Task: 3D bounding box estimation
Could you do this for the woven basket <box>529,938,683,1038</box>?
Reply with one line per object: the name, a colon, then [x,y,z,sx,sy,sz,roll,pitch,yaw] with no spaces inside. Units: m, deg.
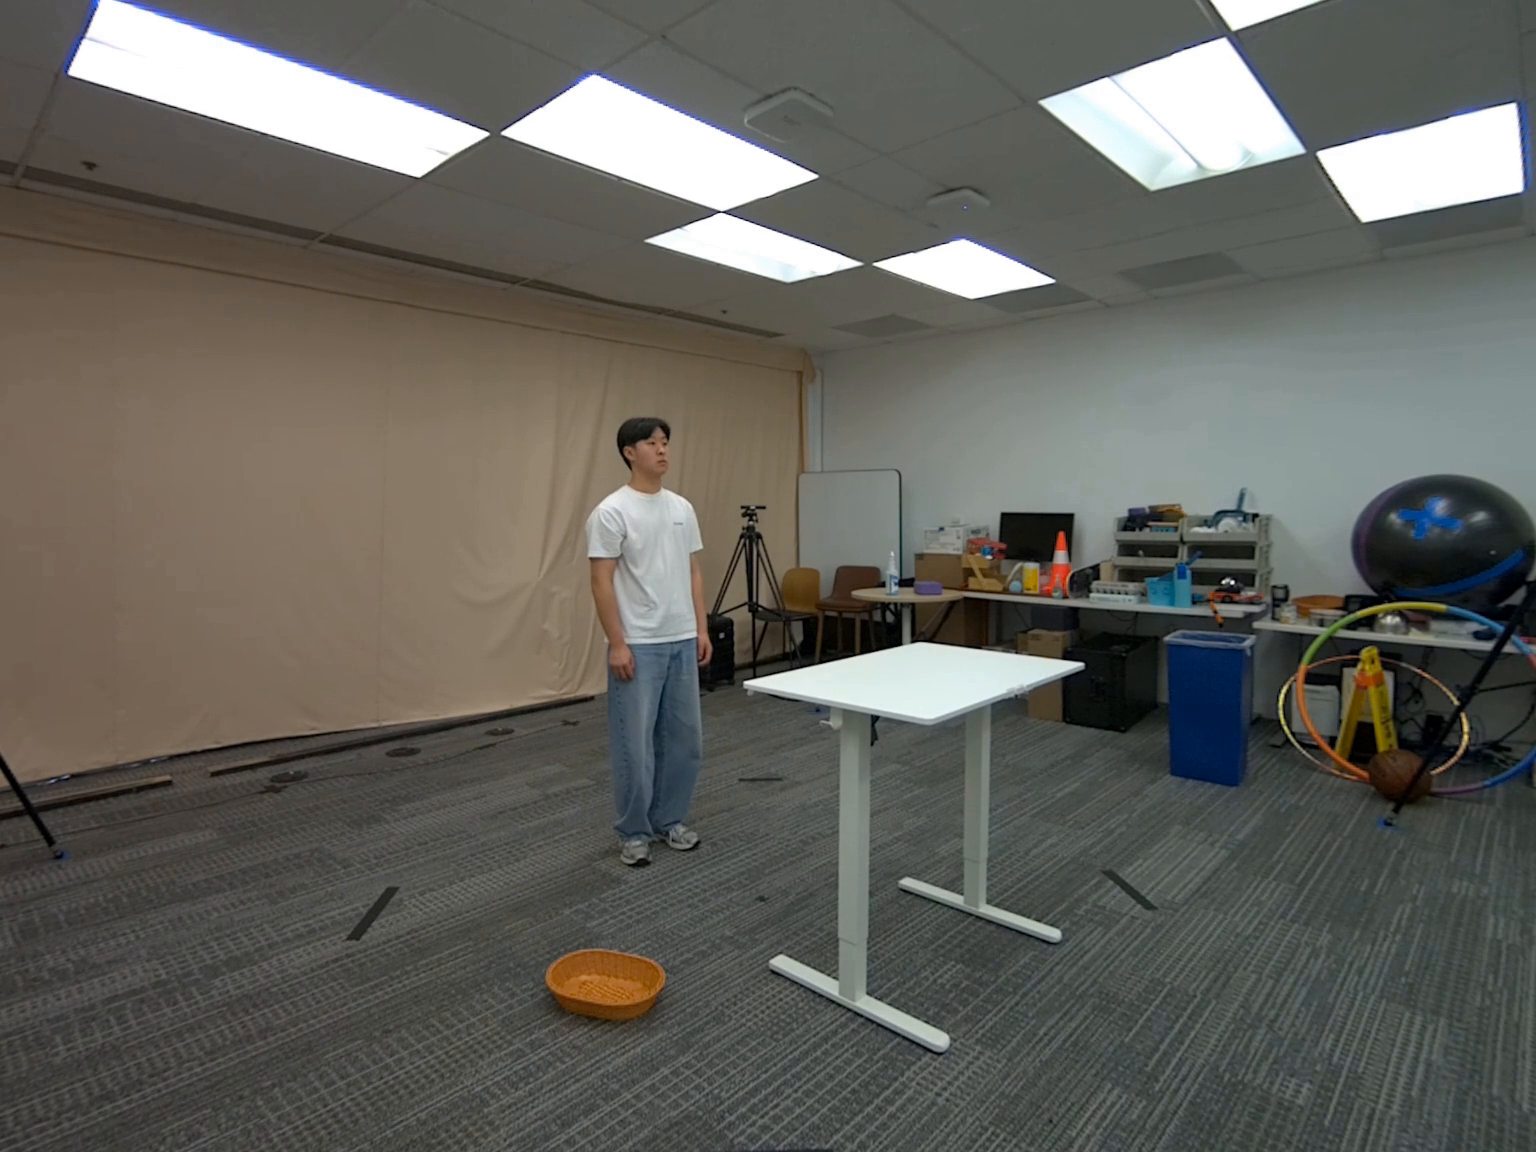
woven basket: [-0.452,1.148,2.385,0.358,0.073,0.248,1,6,19]
